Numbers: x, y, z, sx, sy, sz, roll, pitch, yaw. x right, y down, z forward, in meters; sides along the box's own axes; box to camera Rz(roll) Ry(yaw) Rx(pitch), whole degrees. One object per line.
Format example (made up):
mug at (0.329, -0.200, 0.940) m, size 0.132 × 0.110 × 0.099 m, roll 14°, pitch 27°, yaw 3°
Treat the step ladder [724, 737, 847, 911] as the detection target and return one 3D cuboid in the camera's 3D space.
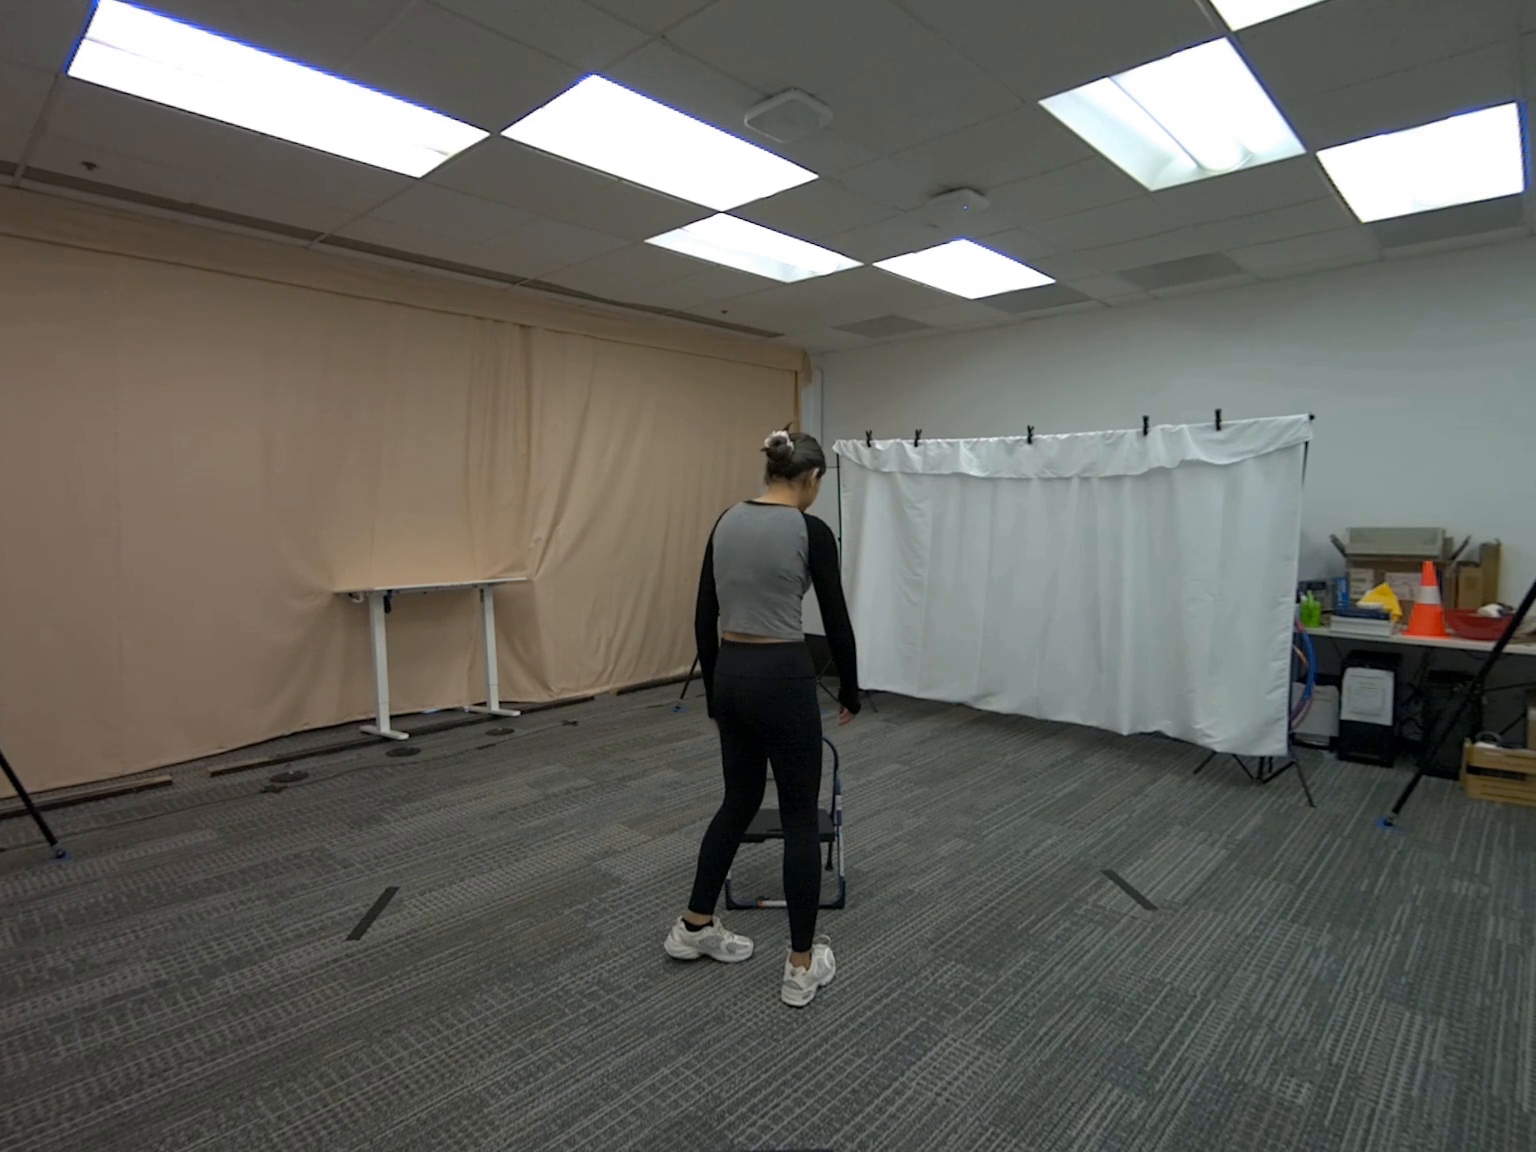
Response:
step ladder at (0.053, 0.841, 3.057) m, size 0.430 × 0.606 × 0.350 m, roll 0°, pitch 1°, yaw -2°
